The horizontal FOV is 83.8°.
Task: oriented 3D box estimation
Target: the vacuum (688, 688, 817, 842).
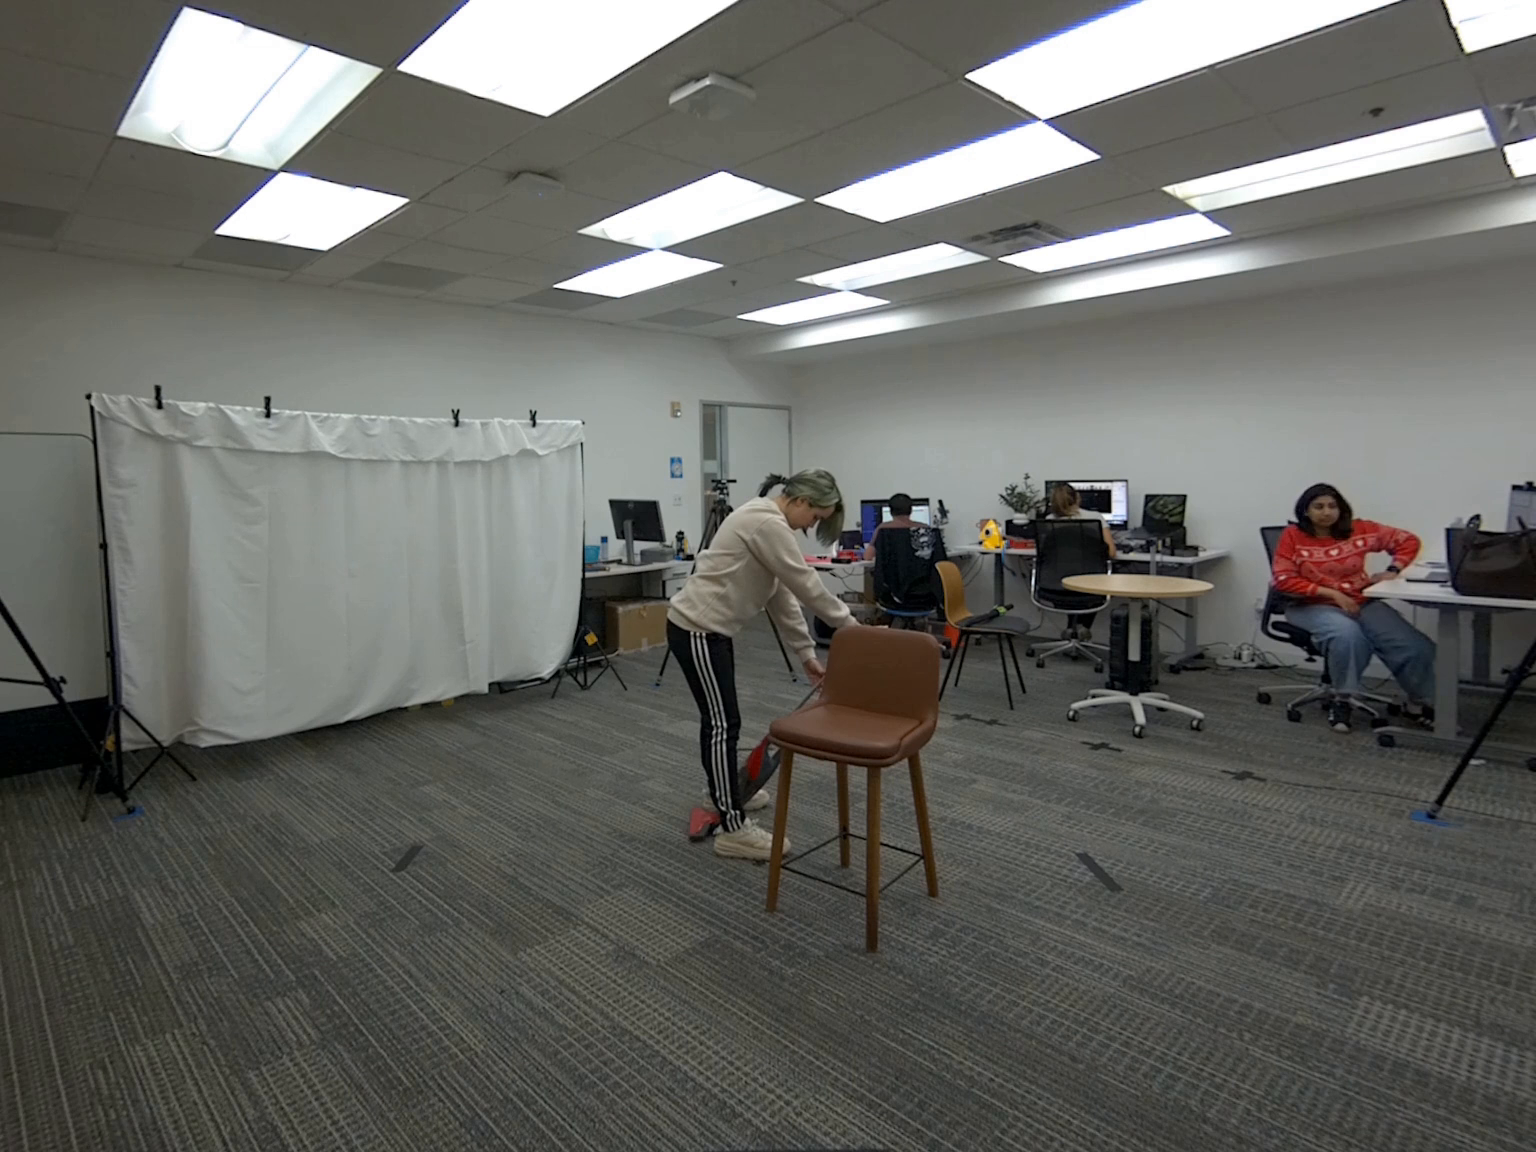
[{"bbox_3d":[0.111,0.606,3.364,0.144,1.049,0.252,43,4,0],"label":"vacuum"}]
